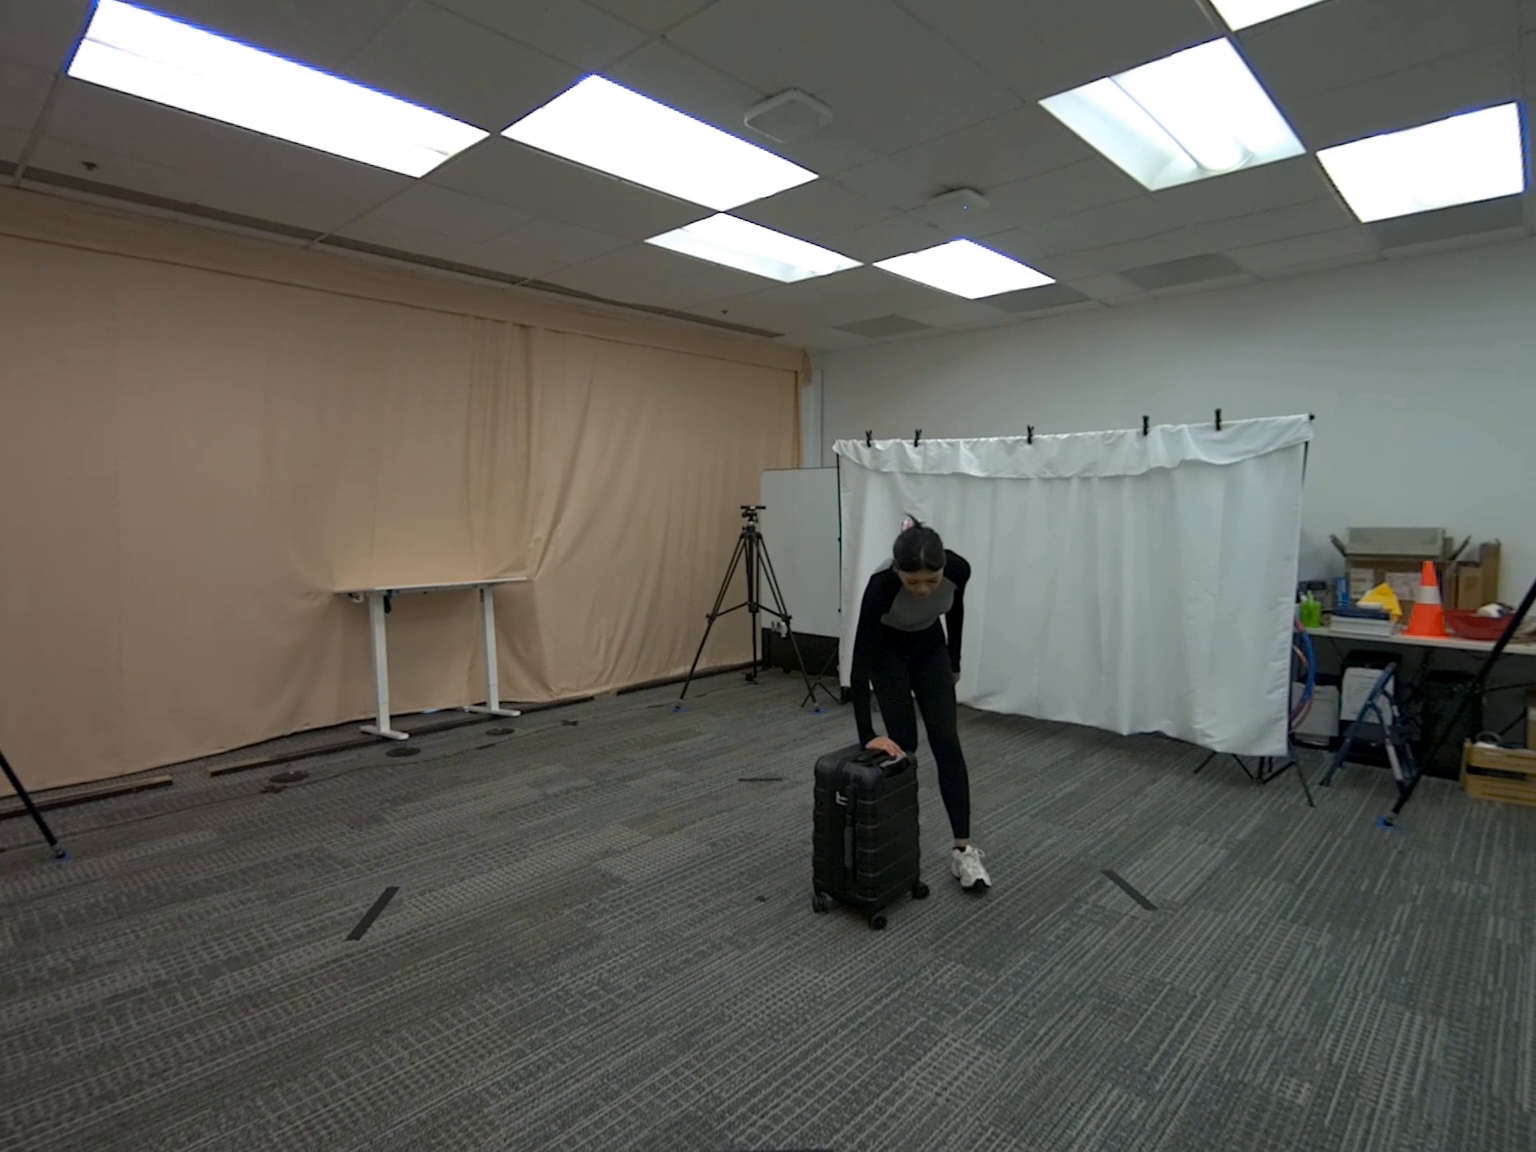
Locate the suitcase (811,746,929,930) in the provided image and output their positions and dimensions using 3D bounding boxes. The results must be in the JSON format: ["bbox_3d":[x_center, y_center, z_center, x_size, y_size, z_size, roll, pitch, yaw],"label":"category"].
[{"bbox_3d":[0.343,0.873,2.932,0.256,0.548,0.364,2,4,41],"label":"suitcase"}]
